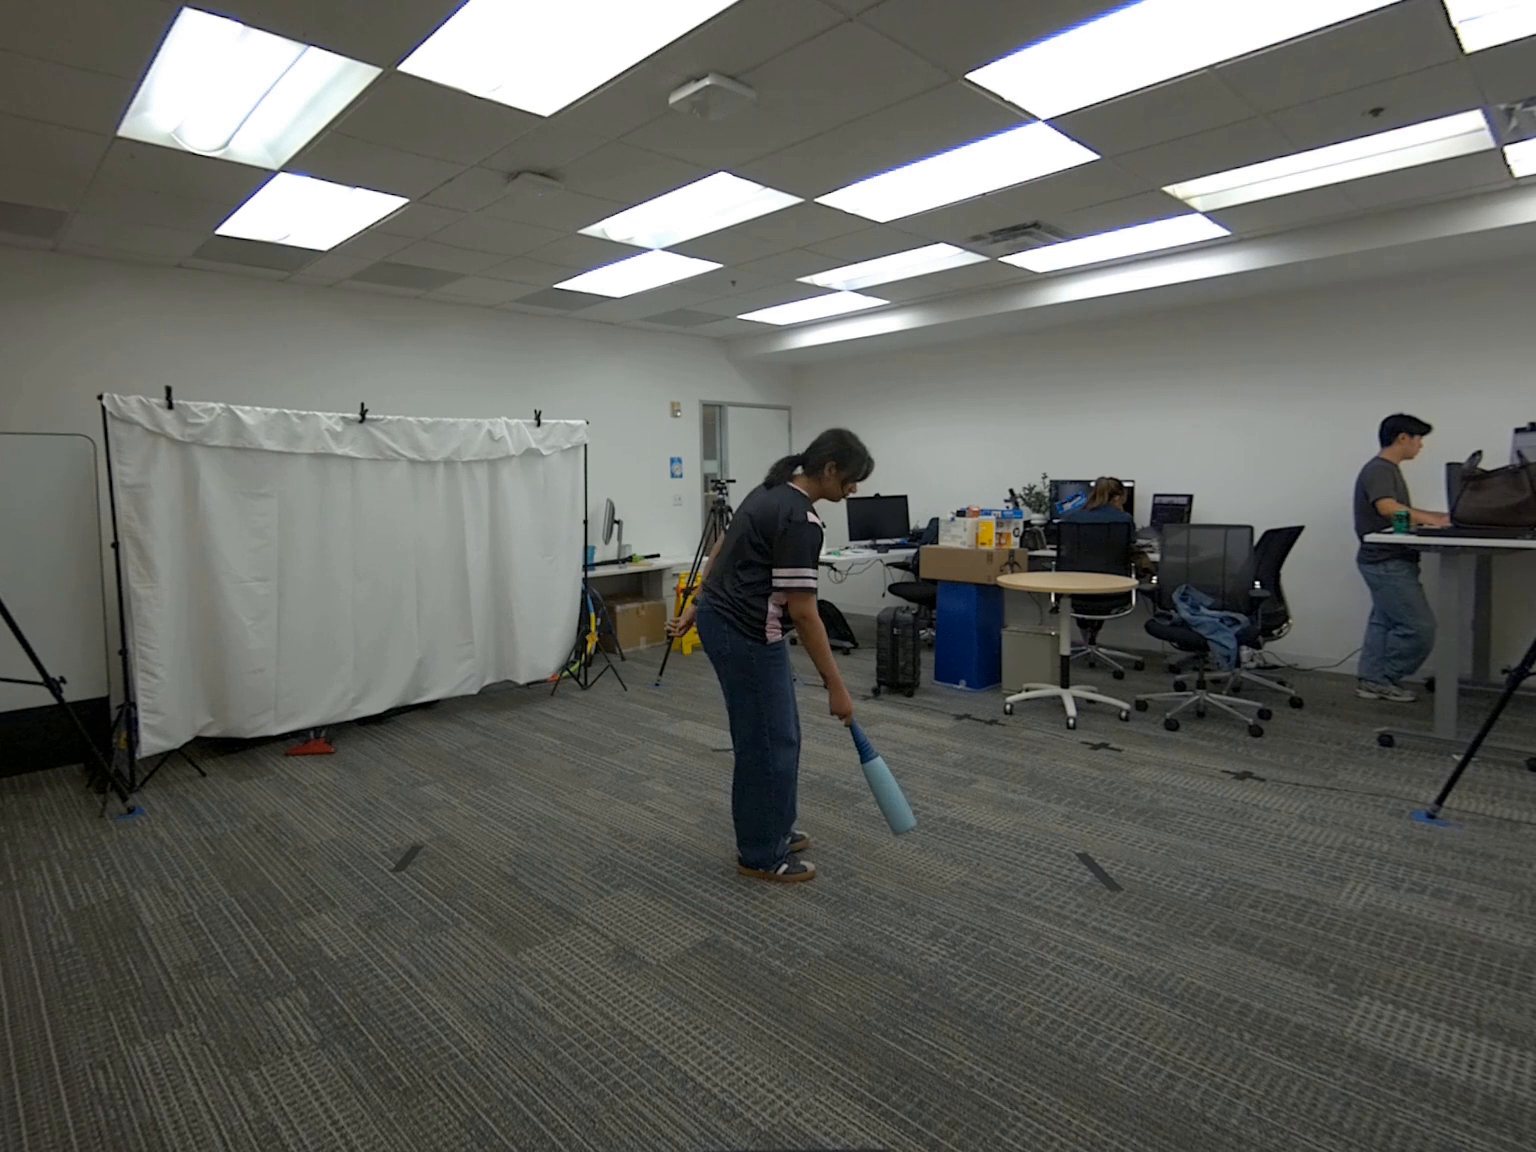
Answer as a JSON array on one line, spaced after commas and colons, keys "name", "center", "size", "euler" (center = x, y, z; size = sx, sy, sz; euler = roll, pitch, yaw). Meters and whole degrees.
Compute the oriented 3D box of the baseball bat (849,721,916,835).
[{"name": "baseball bat", "center": [0.340, 0.595, 2.851], "size": [0.089, 0.552, 0.088], "euler": [-26, -13, -8]}]
